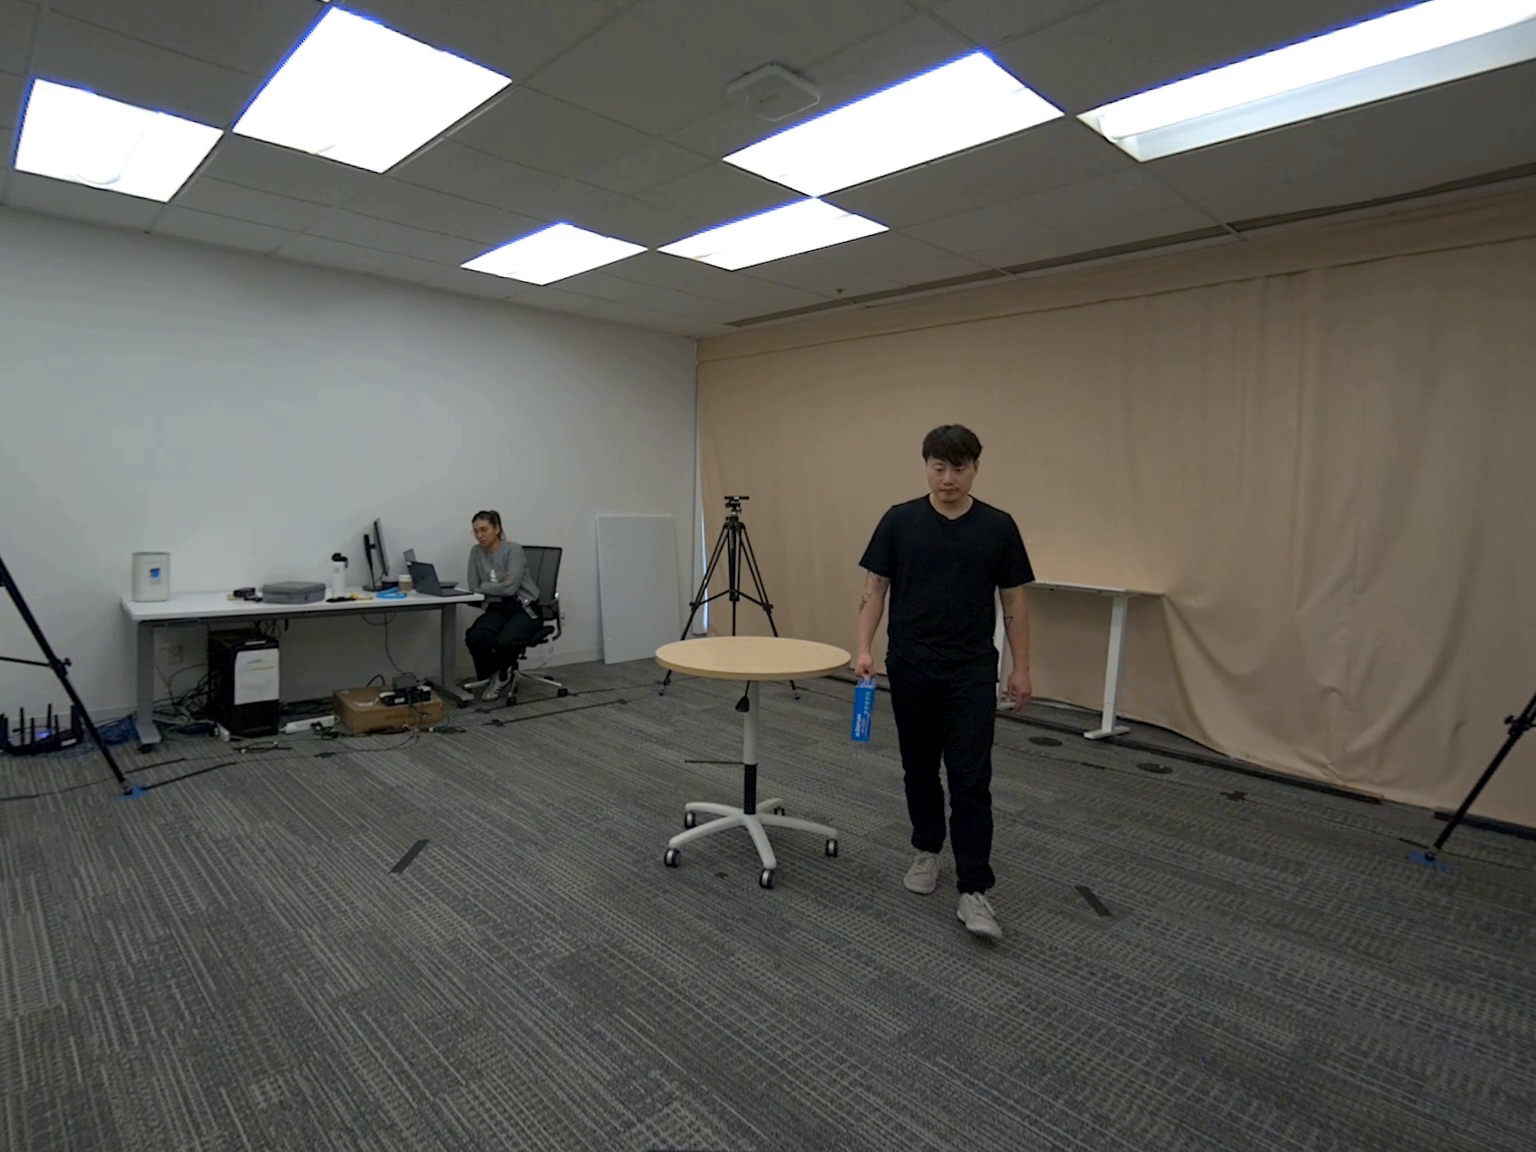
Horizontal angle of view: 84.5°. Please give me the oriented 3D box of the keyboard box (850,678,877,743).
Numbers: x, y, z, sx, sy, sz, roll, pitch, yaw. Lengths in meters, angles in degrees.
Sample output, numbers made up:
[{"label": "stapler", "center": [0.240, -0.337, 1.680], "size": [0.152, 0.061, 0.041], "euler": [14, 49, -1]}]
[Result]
[{"label": "keyboard box", "center": [0.333, 0.451, 2.924], "size": [0.059, 0.176, 0.433], "euler": [5, 0, 7]}]
